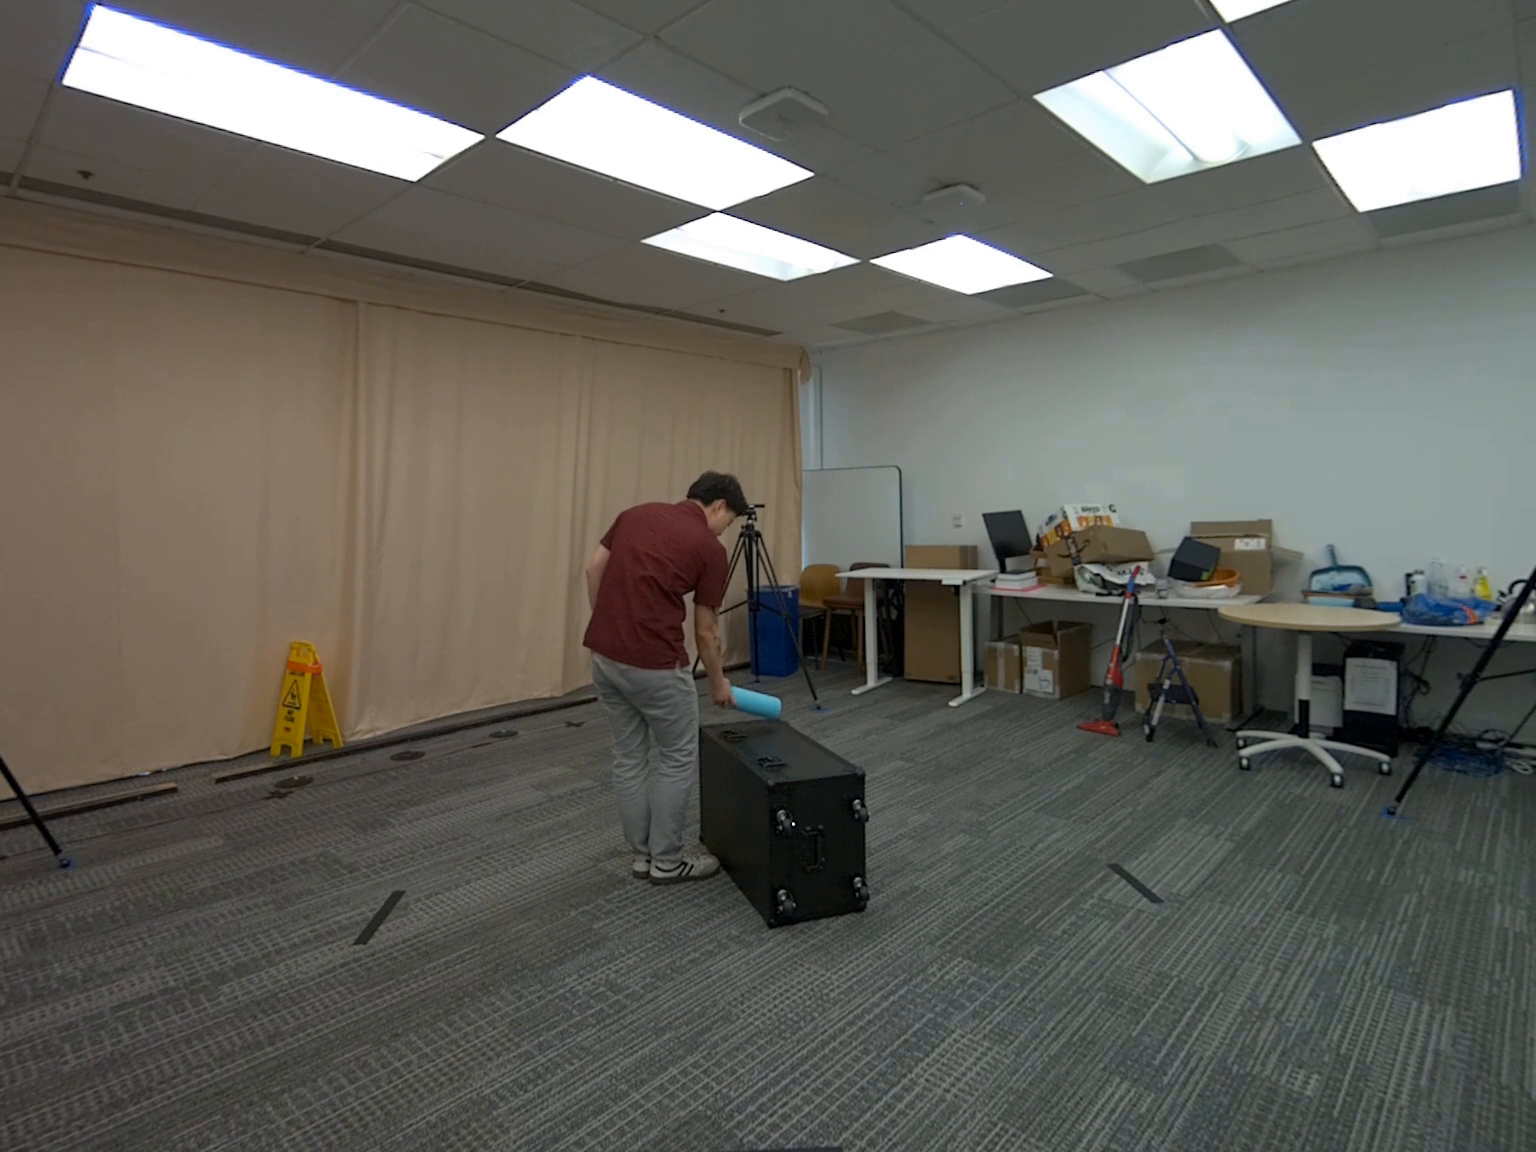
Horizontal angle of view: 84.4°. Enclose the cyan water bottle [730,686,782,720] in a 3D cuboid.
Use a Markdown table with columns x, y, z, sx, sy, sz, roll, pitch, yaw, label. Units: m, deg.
| x | y | z | sx | sy | sz | roll | pitch | yaw | label |
| --- | --- | --- | --- | --- | --- | --- | --- | --- | --- |
| -0.078 | 0.506 | 3.389 | 0.277 | 0.092 | 0.094 | 19 | -4 | -20 | cyan water bottle |
